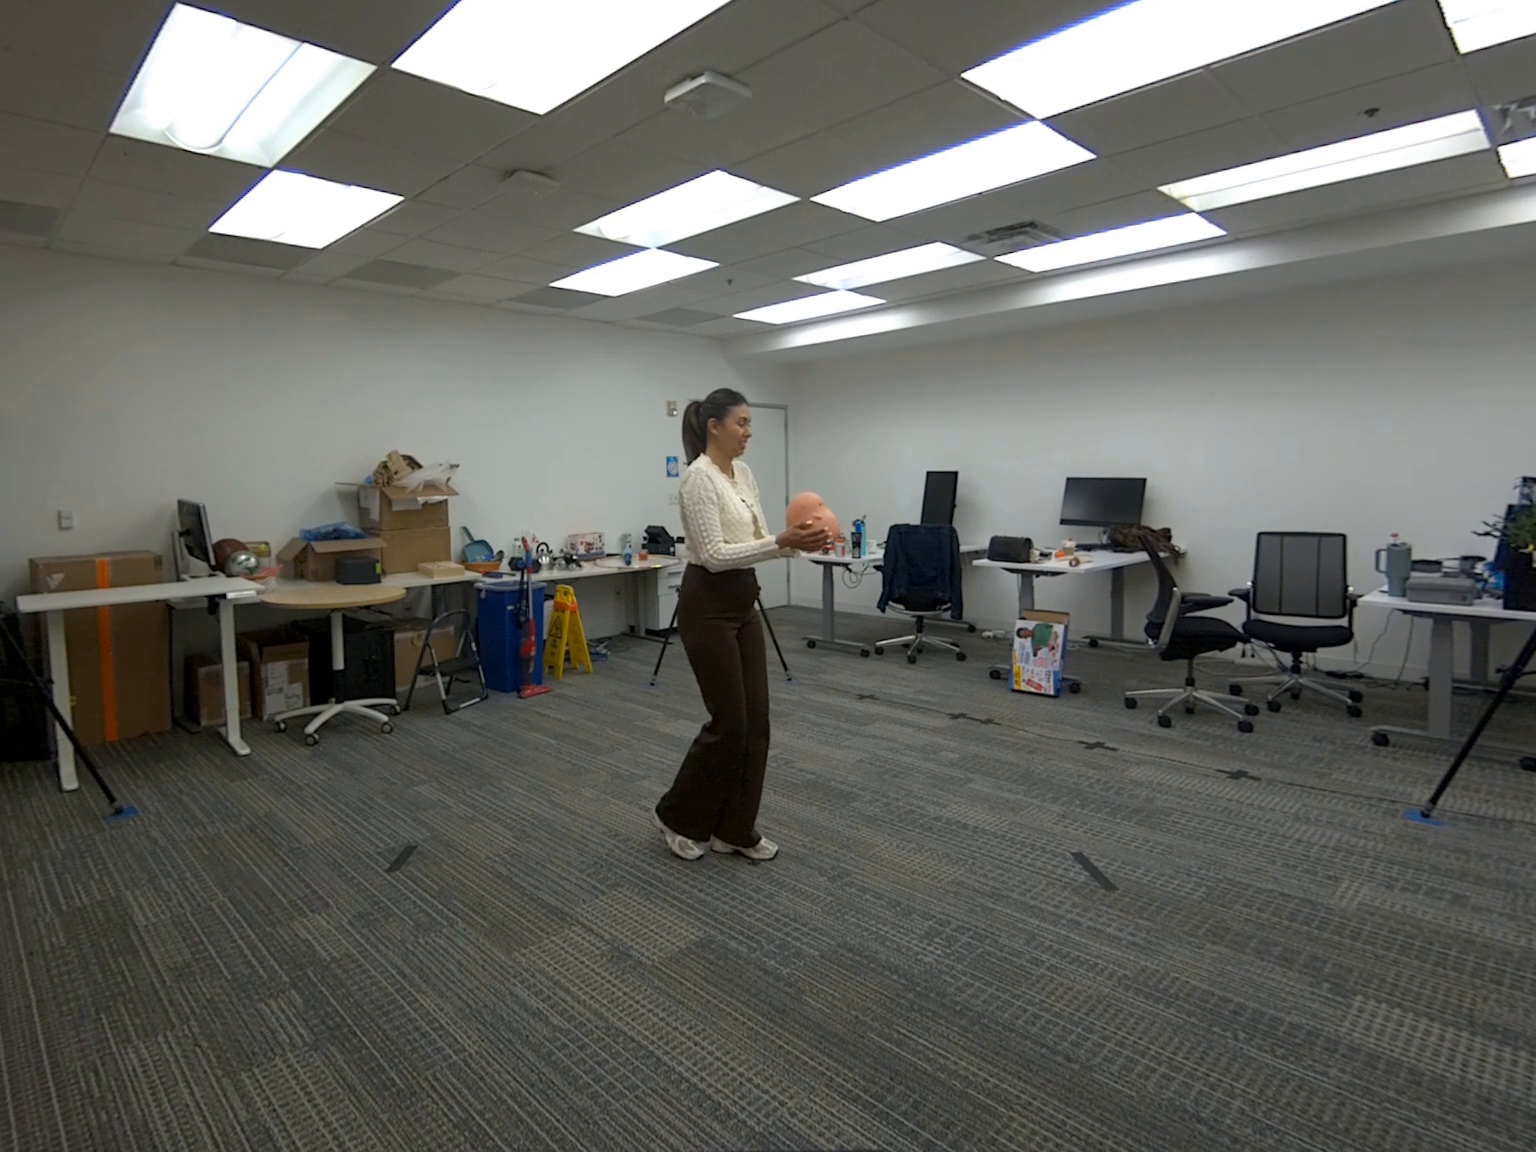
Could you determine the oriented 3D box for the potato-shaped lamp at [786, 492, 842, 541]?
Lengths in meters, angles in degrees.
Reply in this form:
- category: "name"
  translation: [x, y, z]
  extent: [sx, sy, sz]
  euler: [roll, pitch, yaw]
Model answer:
- category: "potato-shaped lamp"
  translation: [0.149, -0.198, 2.987]
  extent: [0.174, 0.195, 0.165]
  euler: [-11, 17, 19]
